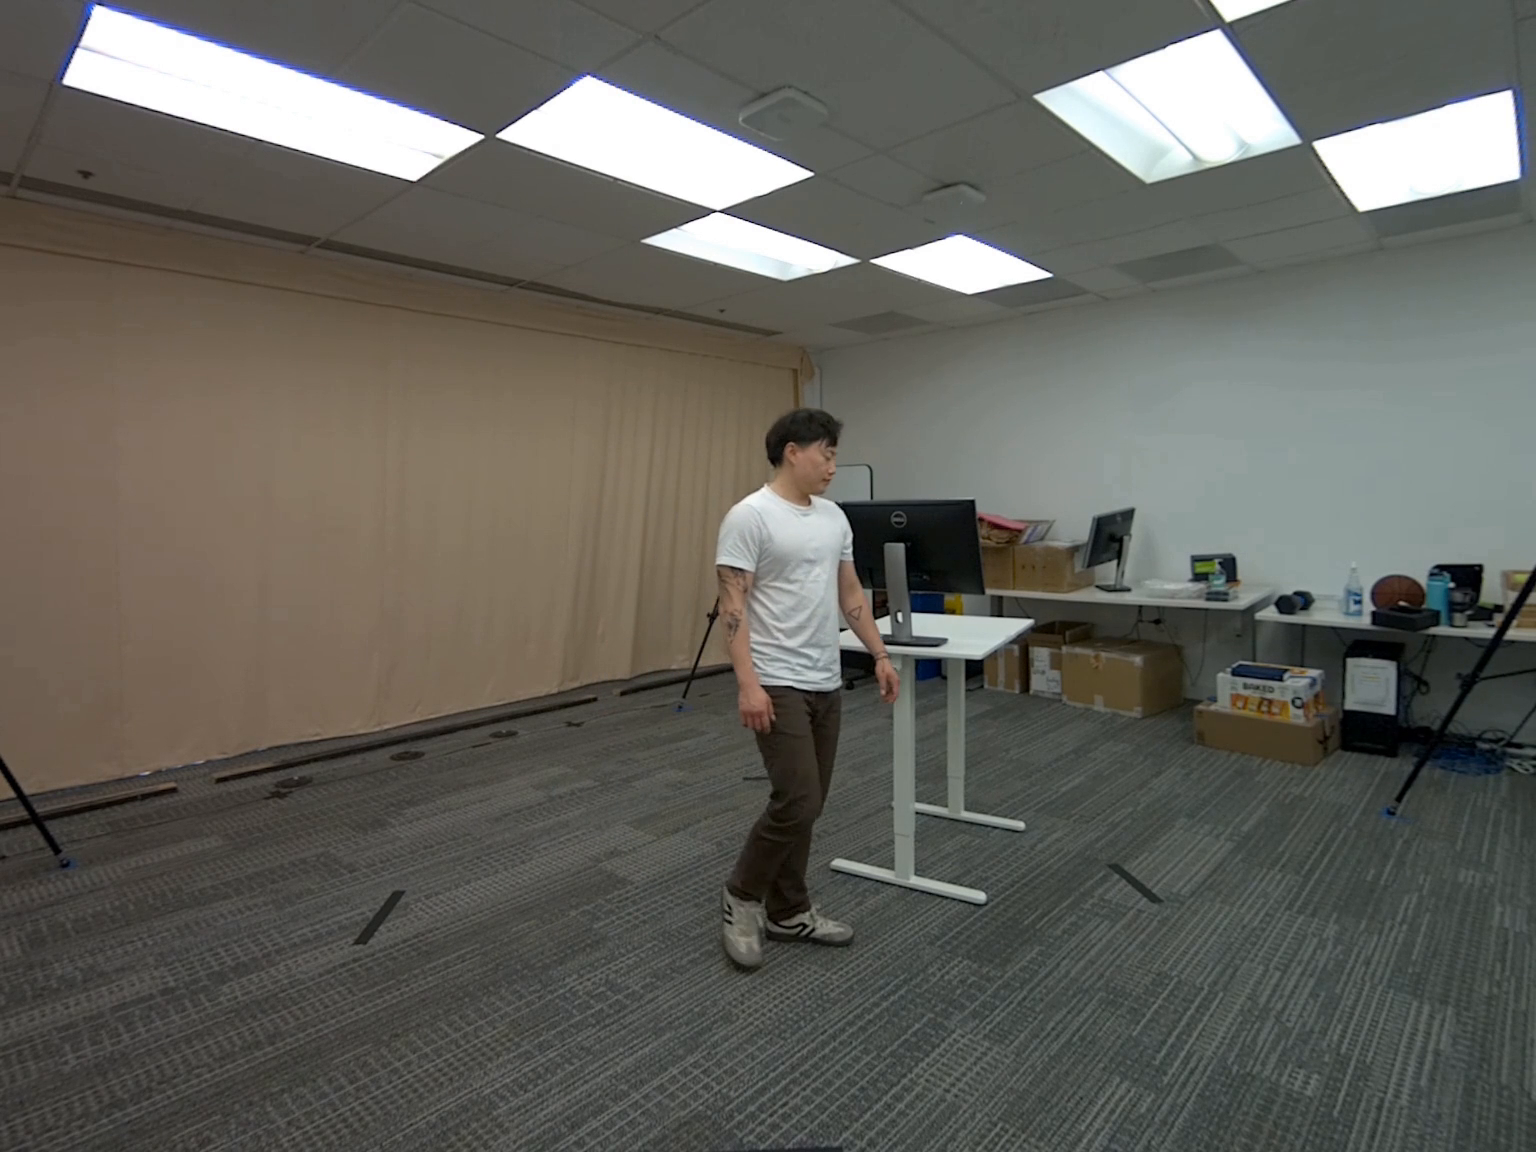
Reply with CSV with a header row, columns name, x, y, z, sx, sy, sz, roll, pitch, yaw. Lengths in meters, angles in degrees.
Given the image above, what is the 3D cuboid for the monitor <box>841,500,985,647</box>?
name,x,y,z,sx,sy,sz,roll,pitch,yaw
monitor,0.492,-0.012,3.022,0.555,0.521,0.182,1,6,31
